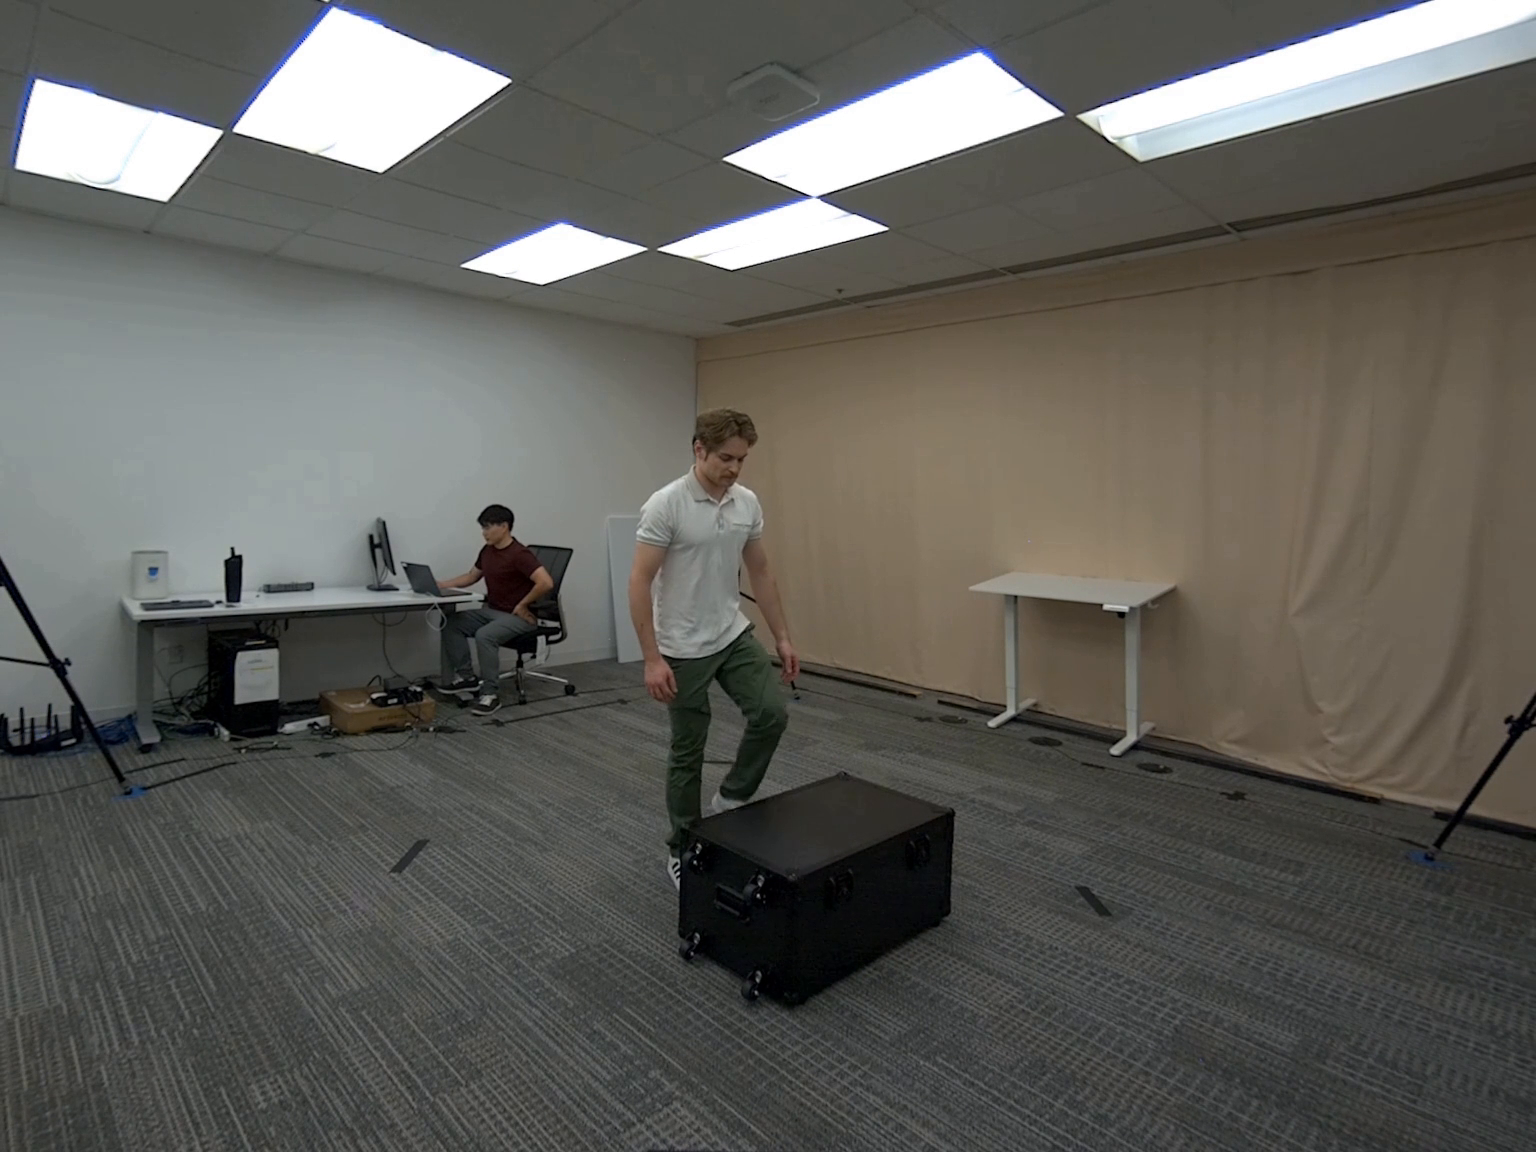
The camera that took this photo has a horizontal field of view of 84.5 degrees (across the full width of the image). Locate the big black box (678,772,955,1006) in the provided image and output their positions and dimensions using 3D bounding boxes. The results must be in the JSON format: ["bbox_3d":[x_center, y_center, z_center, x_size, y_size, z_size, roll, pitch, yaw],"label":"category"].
[{"bbox_3d":[0.133,0.954,2.680,0.849,0.384,0.537,-4,9,-44],"label":"big black box"}]
